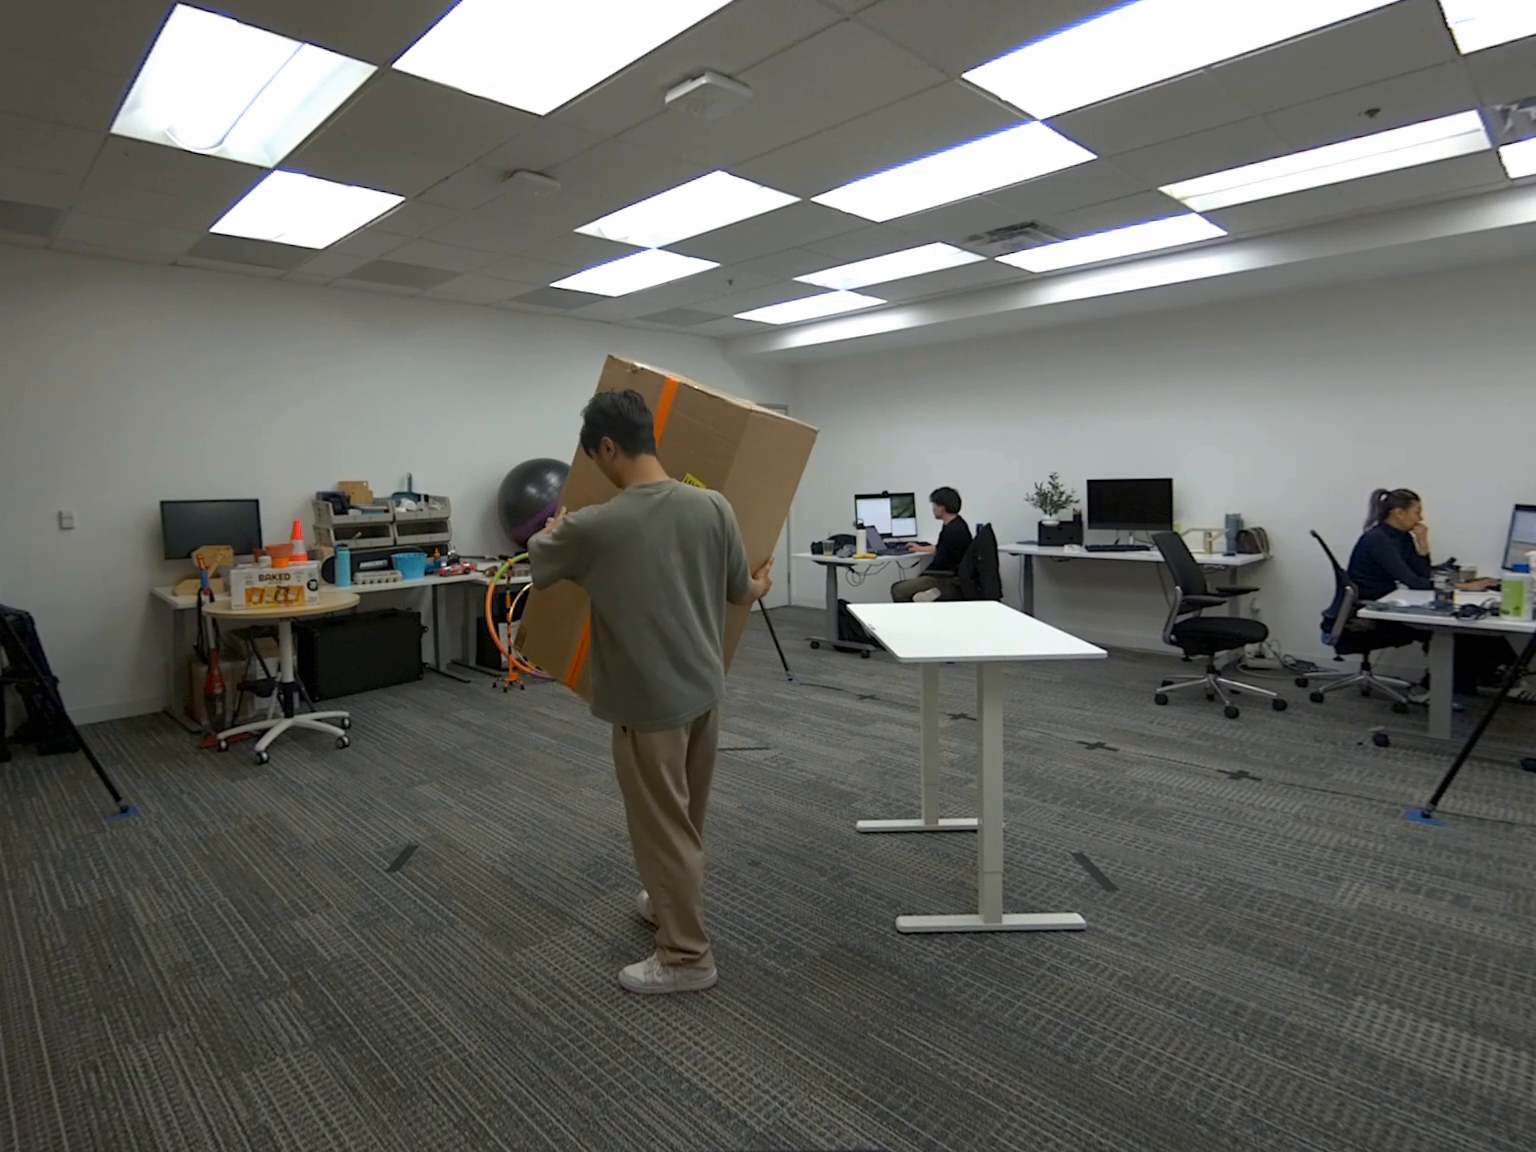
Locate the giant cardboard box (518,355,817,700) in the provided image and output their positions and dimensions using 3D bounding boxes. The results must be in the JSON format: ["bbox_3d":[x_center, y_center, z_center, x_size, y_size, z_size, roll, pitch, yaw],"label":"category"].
[{"bbox_3d":[-0.352,-0.109,2.772,0.597,1.020,0.415,27,13,29],"label":"giant cardboard box"}]
